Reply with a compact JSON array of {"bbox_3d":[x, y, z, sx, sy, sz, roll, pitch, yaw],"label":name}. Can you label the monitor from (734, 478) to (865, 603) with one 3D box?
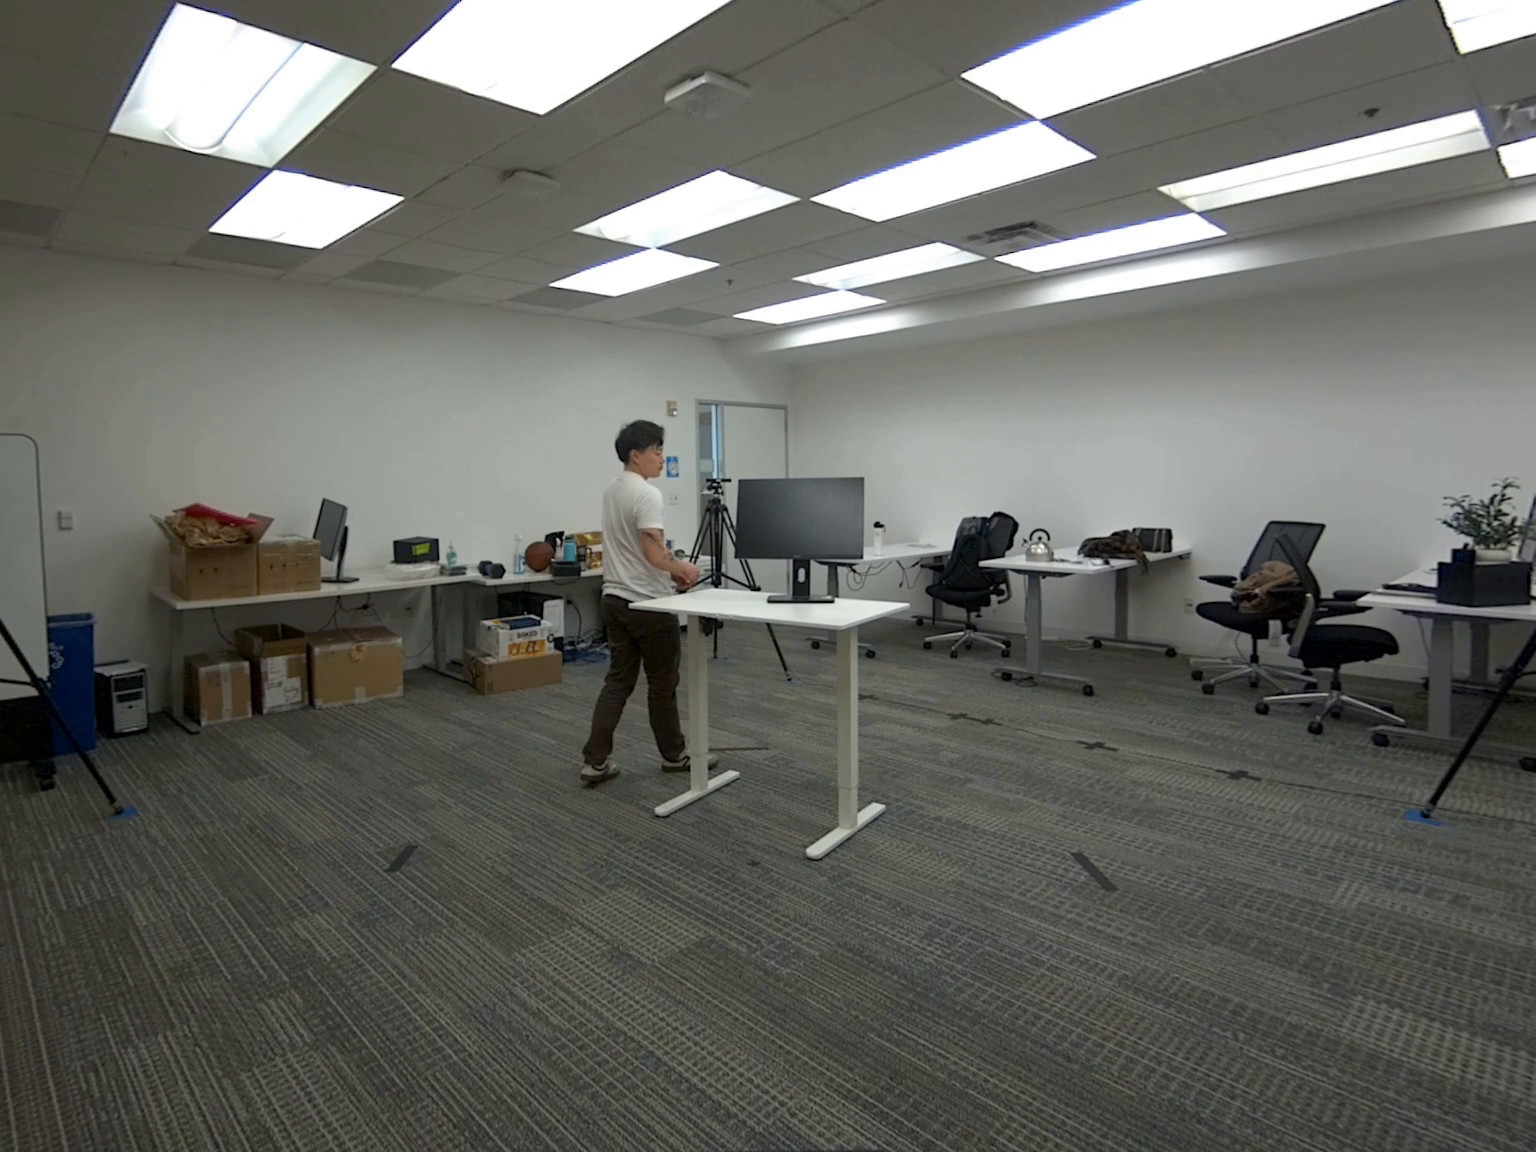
[{"bbox_3d":[0.137,-0.149,3.607,0.544,0.522,0.185,-1,0,9],"label":"monitor"}]
